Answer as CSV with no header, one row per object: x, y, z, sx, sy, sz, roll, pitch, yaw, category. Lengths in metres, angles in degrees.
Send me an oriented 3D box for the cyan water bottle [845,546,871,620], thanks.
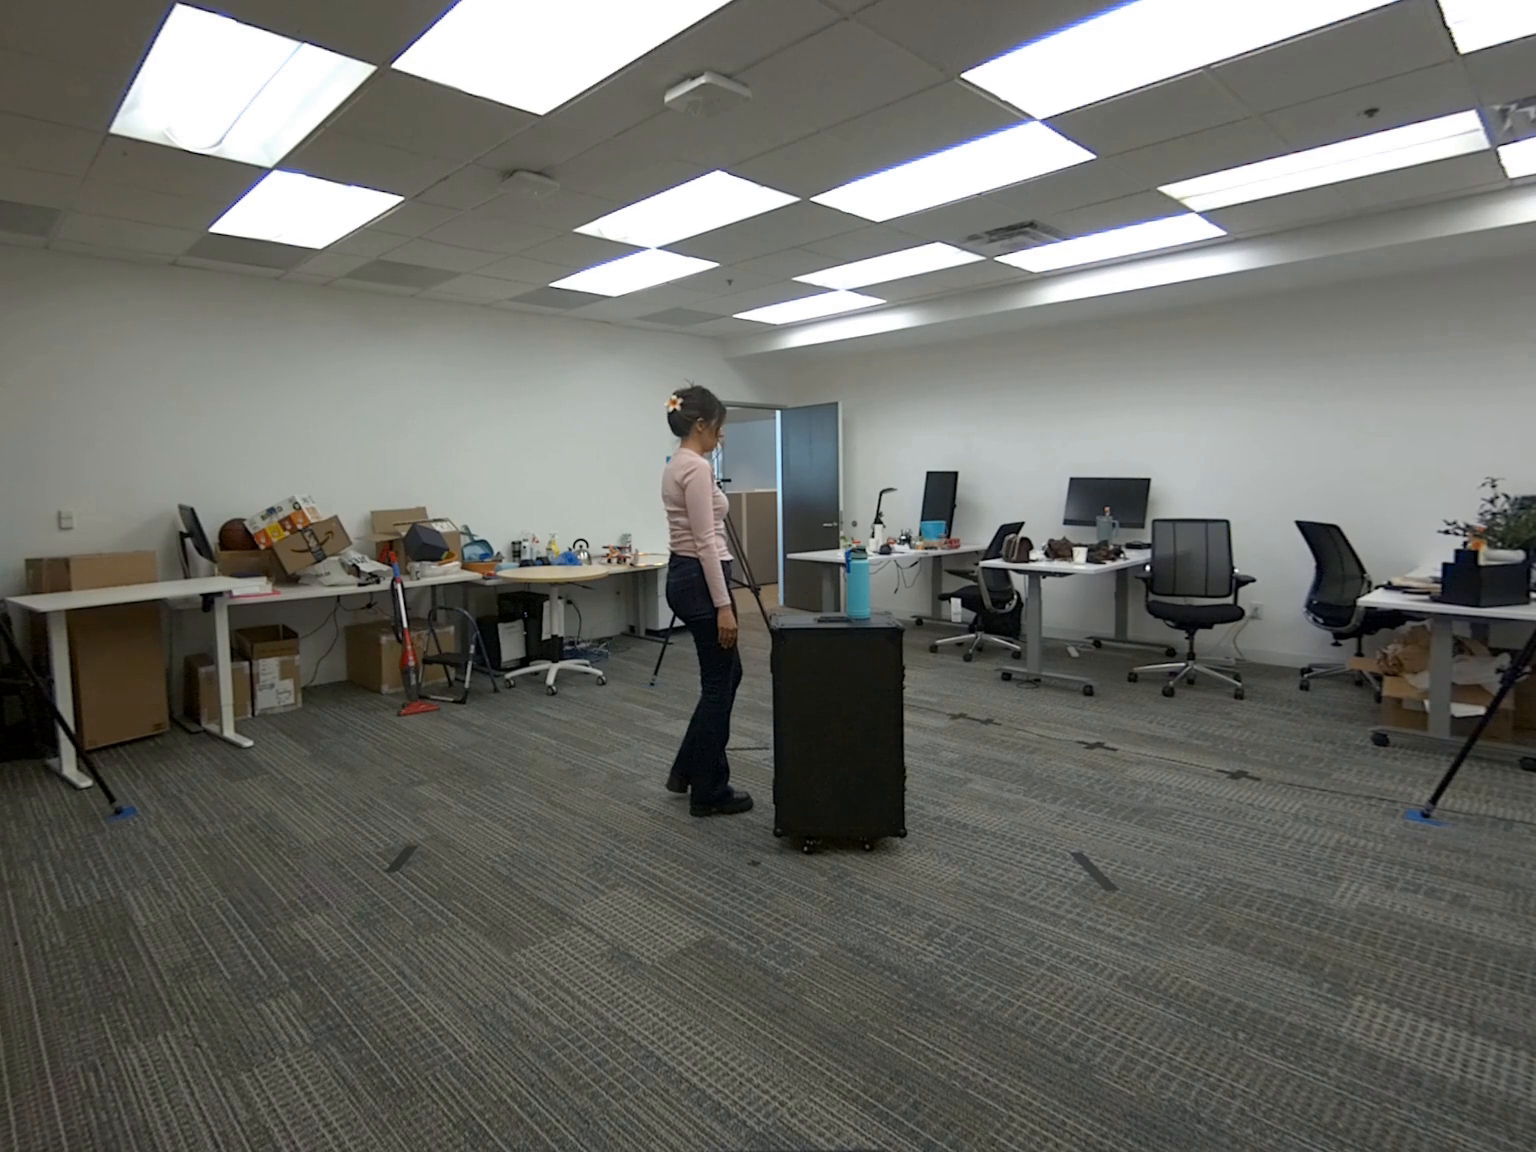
0.348,0.020,3.332,0.092,0.281,0.093,-2,9,-1,cyan water bottle
